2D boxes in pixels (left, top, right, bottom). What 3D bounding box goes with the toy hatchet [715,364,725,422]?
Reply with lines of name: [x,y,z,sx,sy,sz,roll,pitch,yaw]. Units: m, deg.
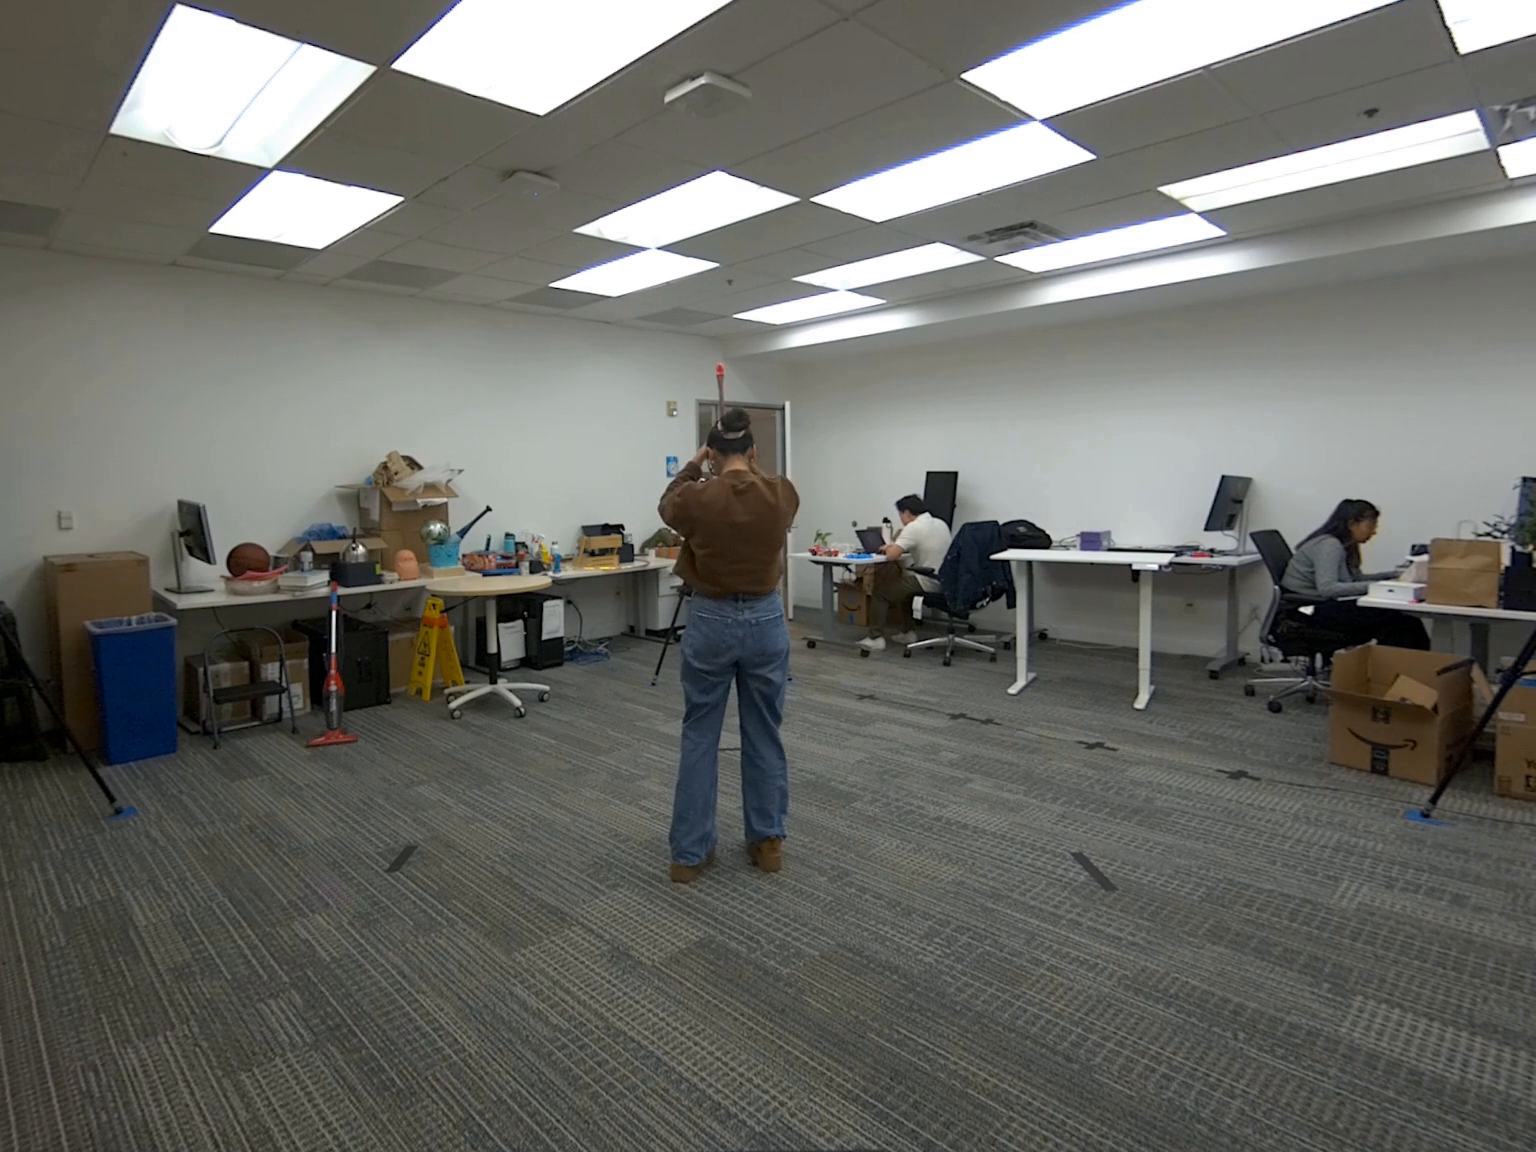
toy hatchet: [-0.175,-0.673,3.241,0.029,0.269,0.131,-3,3,-3]
